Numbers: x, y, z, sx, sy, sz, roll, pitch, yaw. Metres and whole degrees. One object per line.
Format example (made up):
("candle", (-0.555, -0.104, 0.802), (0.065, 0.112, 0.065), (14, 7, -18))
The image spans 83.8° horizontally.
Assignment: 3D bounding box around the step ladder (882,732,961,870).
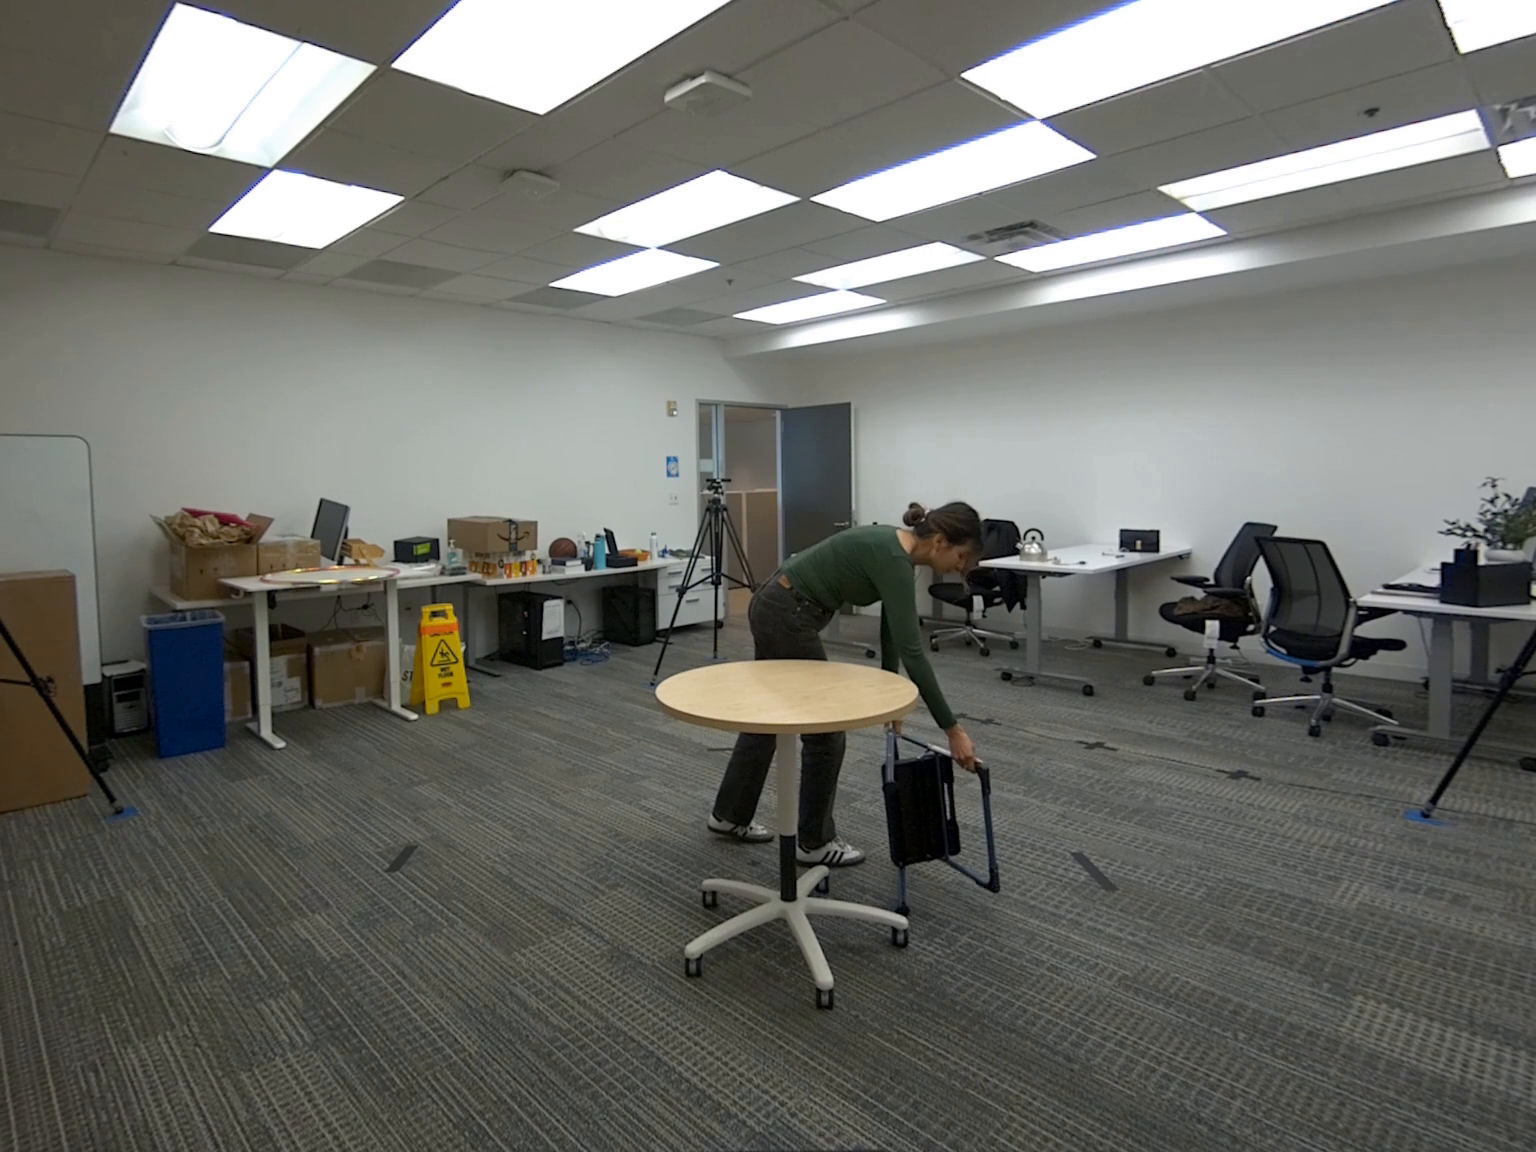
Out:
("step ladder", (0.478, 0.767, 2.930), (0.346, 0.428, 0.615), (-7, 8, -11))
